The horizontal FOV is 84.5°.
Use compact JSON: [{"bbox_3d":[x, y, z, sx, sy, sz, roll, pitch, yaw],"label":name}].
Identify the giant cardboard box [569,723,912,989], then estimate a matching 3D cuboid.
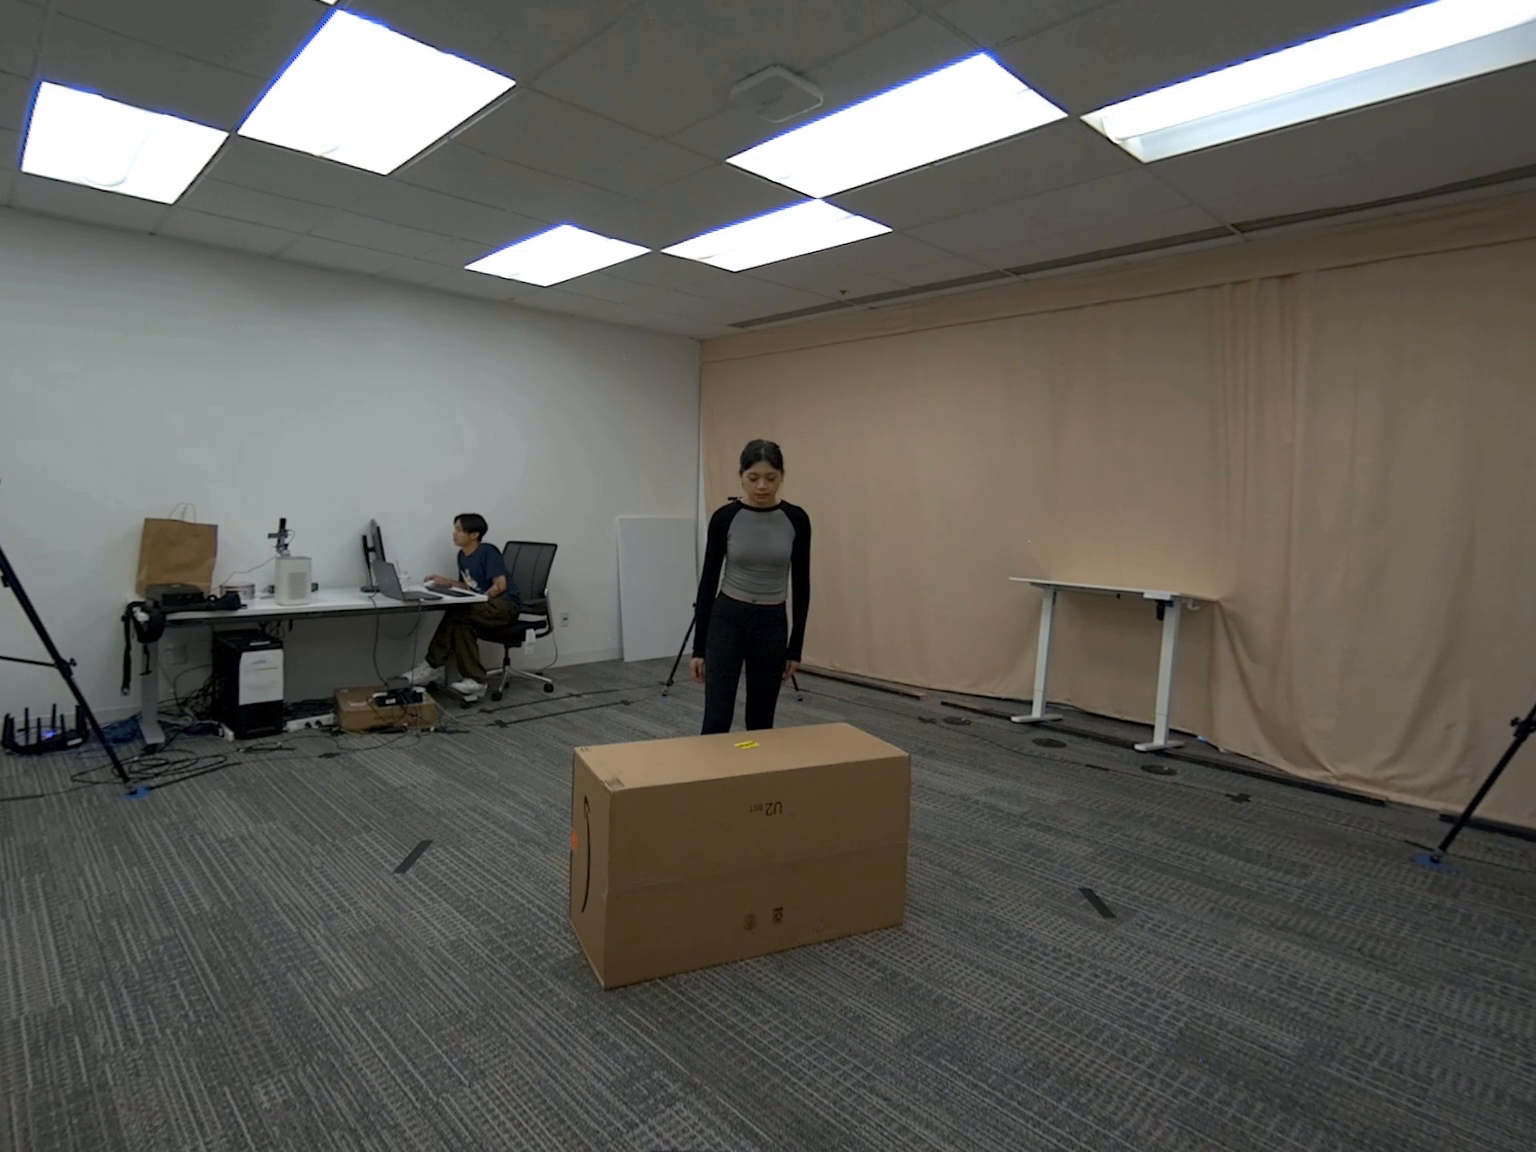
[{"bbox_3d":[-0.093,0.853,2.745,1.007,0.576,0.435,-1,4,-25],"label":"giant cardboard box"}]
